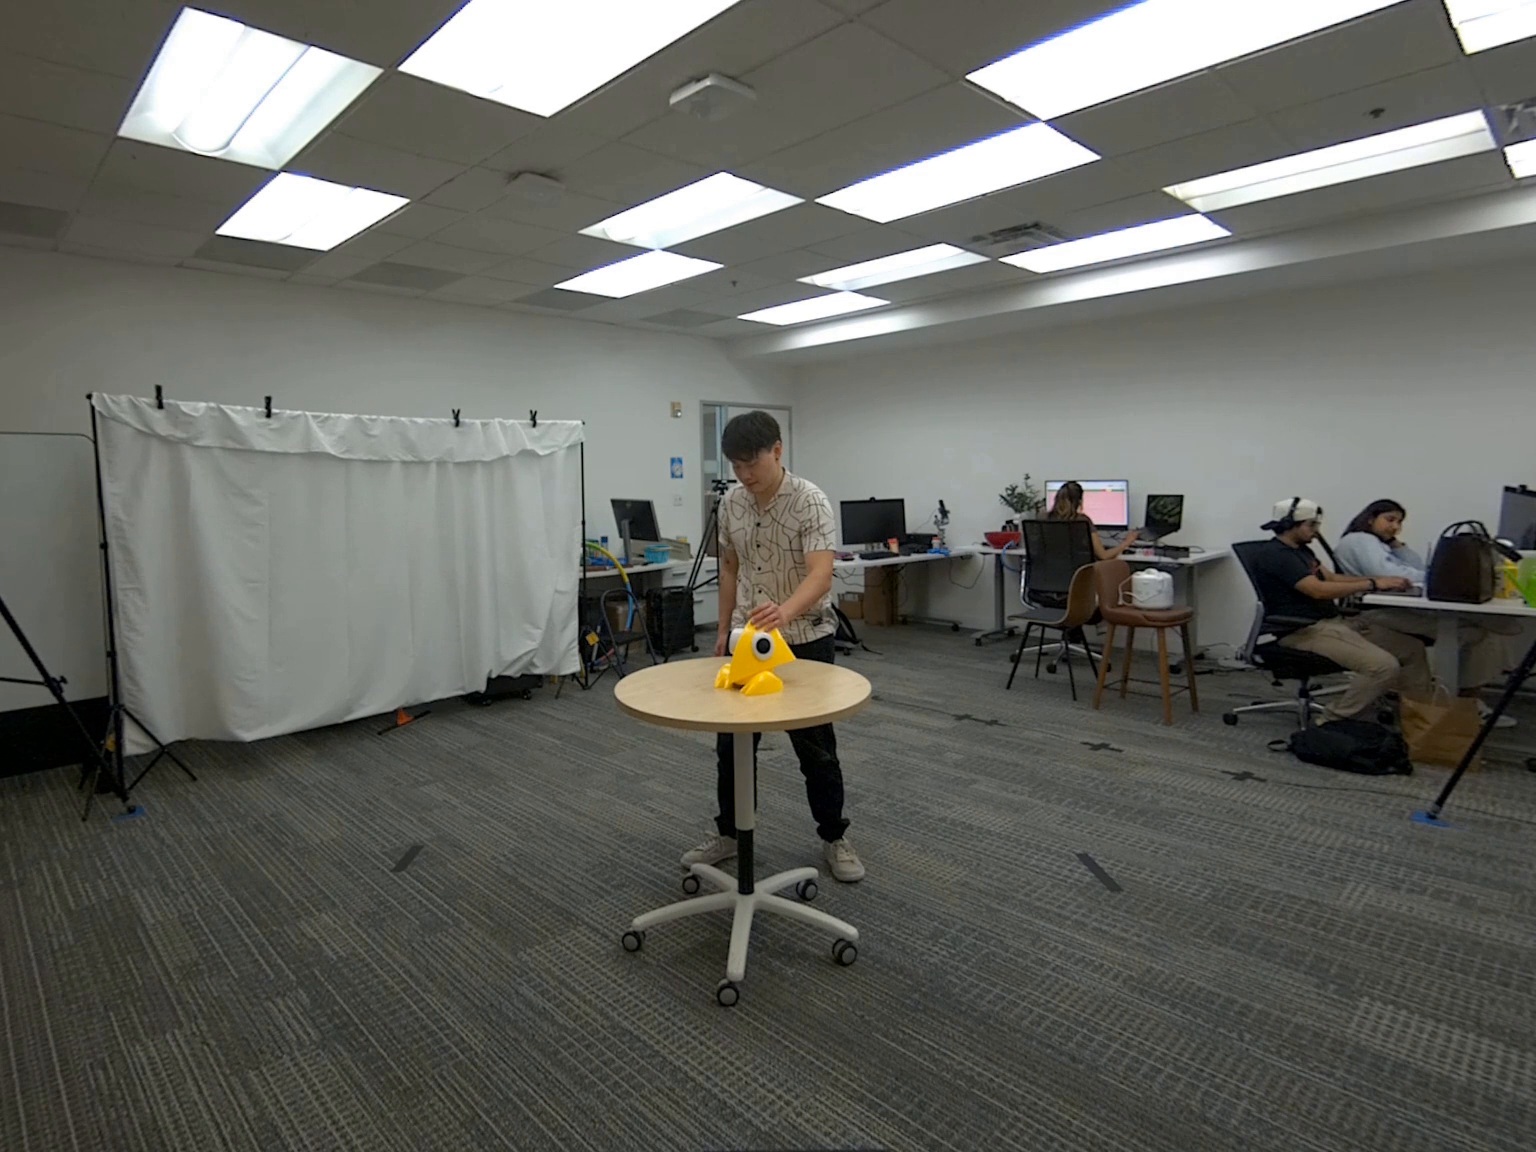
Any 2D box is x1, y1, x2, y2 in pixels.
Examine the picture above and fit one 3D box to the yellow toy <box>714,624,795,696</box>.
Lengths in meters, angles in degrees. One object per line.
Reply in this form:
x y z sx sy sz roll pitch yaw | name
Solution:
-0.054 0.219 2.546 0.211 0.229 0.188 4 8 43 | yellow toy
